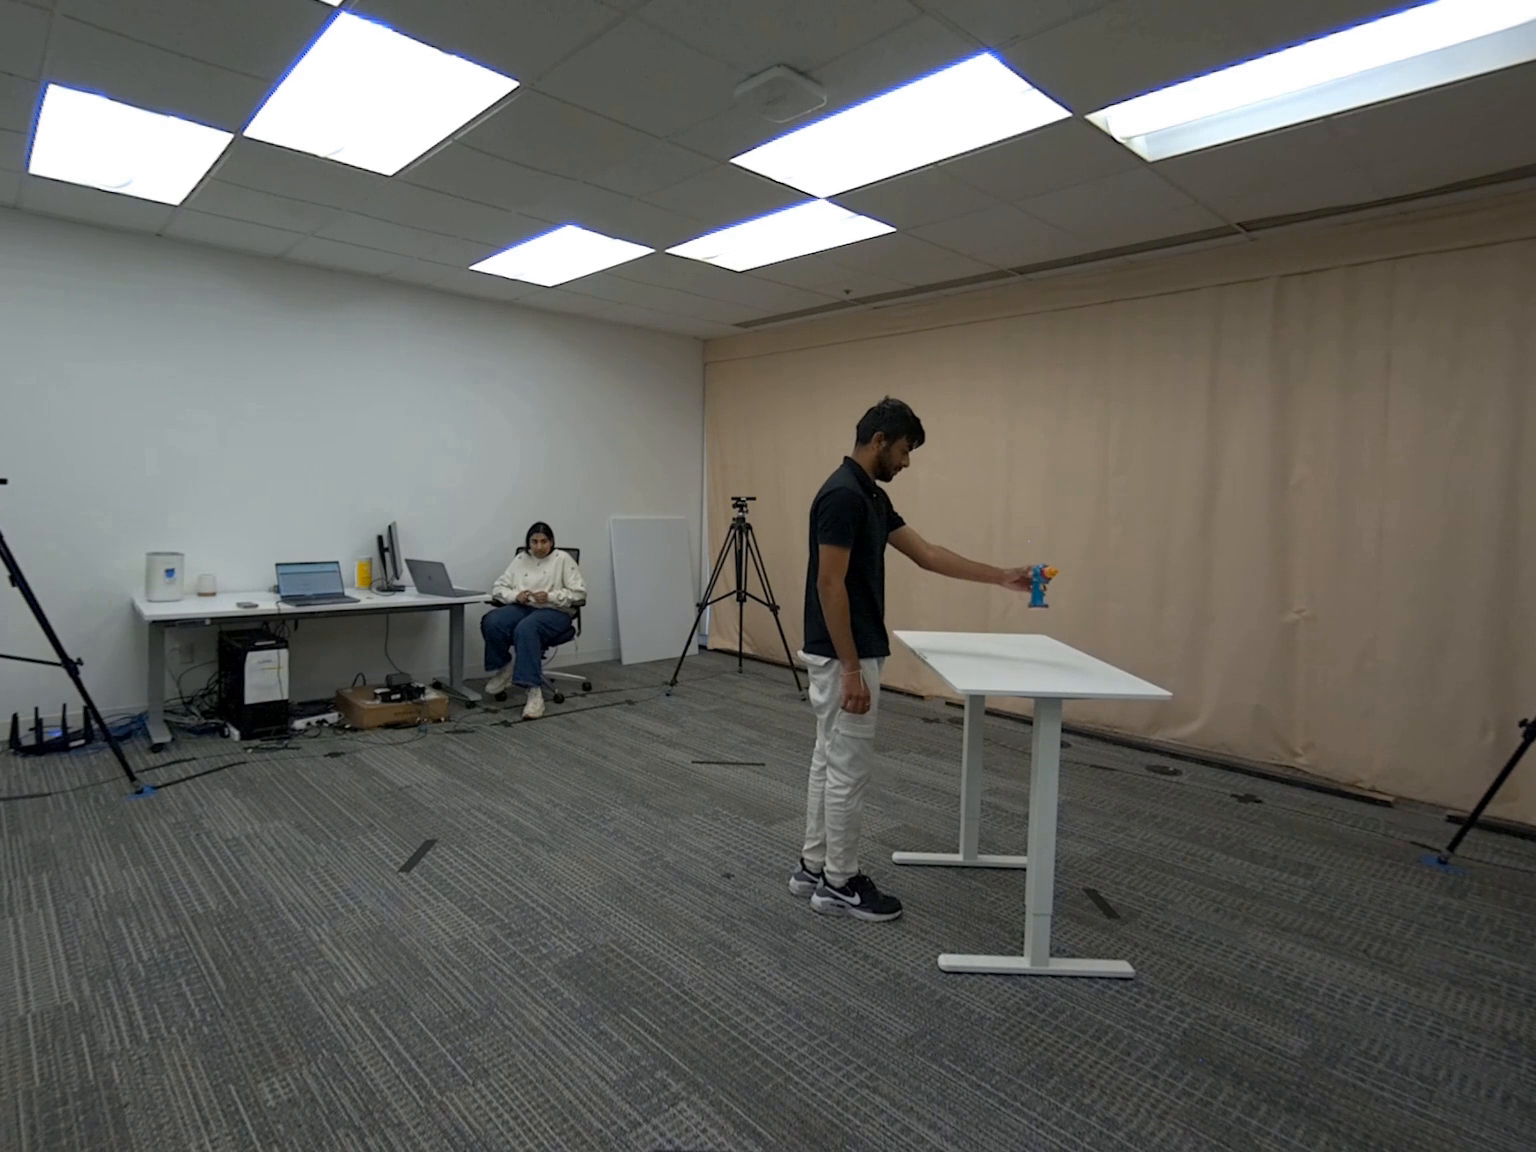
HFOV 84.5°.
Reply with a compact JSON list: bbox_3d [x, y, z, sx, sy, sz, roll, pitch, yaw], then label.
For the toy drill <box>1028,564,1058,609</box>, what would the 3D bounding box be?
[{"bbox_3d":[0.873,0.032,2.722,0.060,0.147,0.171,3,-6,-13],"label":"toy drill"}]
